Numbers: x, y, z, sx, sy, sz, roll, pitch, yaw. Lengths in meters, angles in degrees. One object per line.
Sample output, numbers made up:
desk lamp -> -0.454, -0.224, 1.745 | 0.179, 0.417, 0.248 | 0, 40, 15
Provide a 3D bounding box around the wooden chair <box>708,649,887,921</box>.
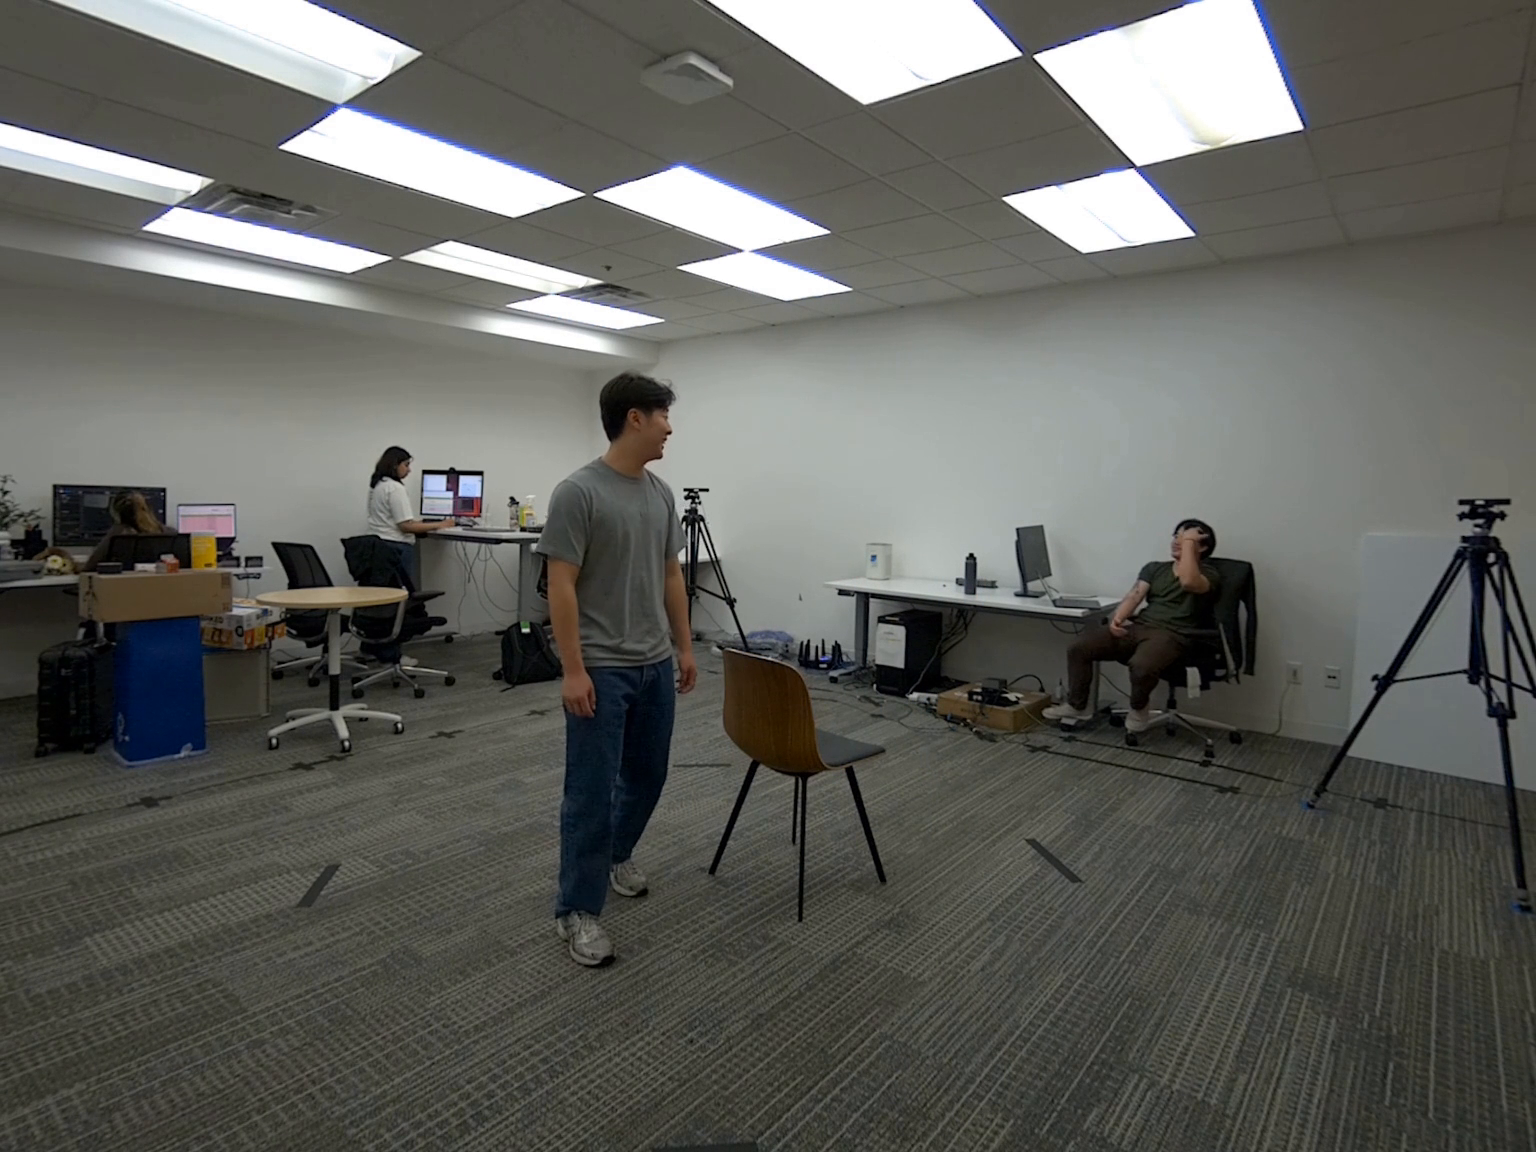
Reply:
wooden chair -> 0.108, 0.656, 3.036 | 0.509, 0.872, 0.494 | -8, 8, -43
